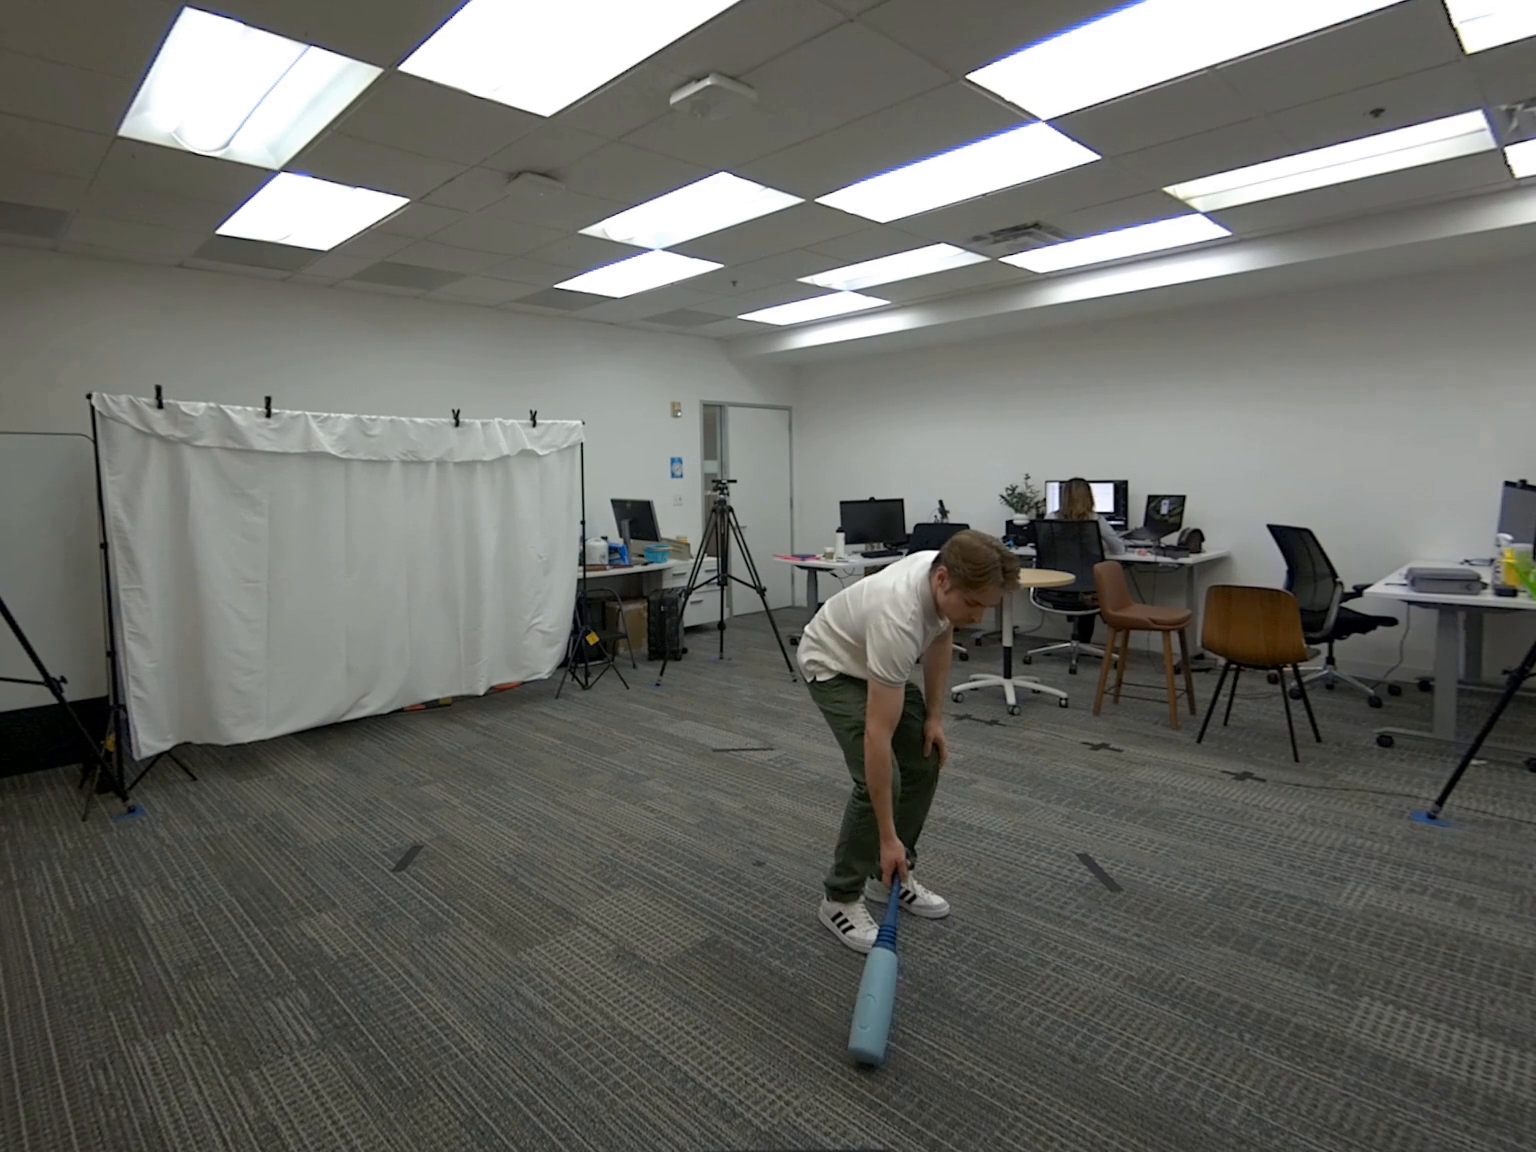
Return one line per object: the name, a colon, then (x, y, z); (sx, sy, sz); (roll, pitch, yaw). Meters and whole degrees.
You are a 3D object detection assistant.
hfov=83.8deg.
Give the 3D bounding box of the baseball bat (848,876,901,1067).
baseball bat: (0.310, 0.962, 2.197); (0.091, 0.086, 0.551); (0, 44, 21)
